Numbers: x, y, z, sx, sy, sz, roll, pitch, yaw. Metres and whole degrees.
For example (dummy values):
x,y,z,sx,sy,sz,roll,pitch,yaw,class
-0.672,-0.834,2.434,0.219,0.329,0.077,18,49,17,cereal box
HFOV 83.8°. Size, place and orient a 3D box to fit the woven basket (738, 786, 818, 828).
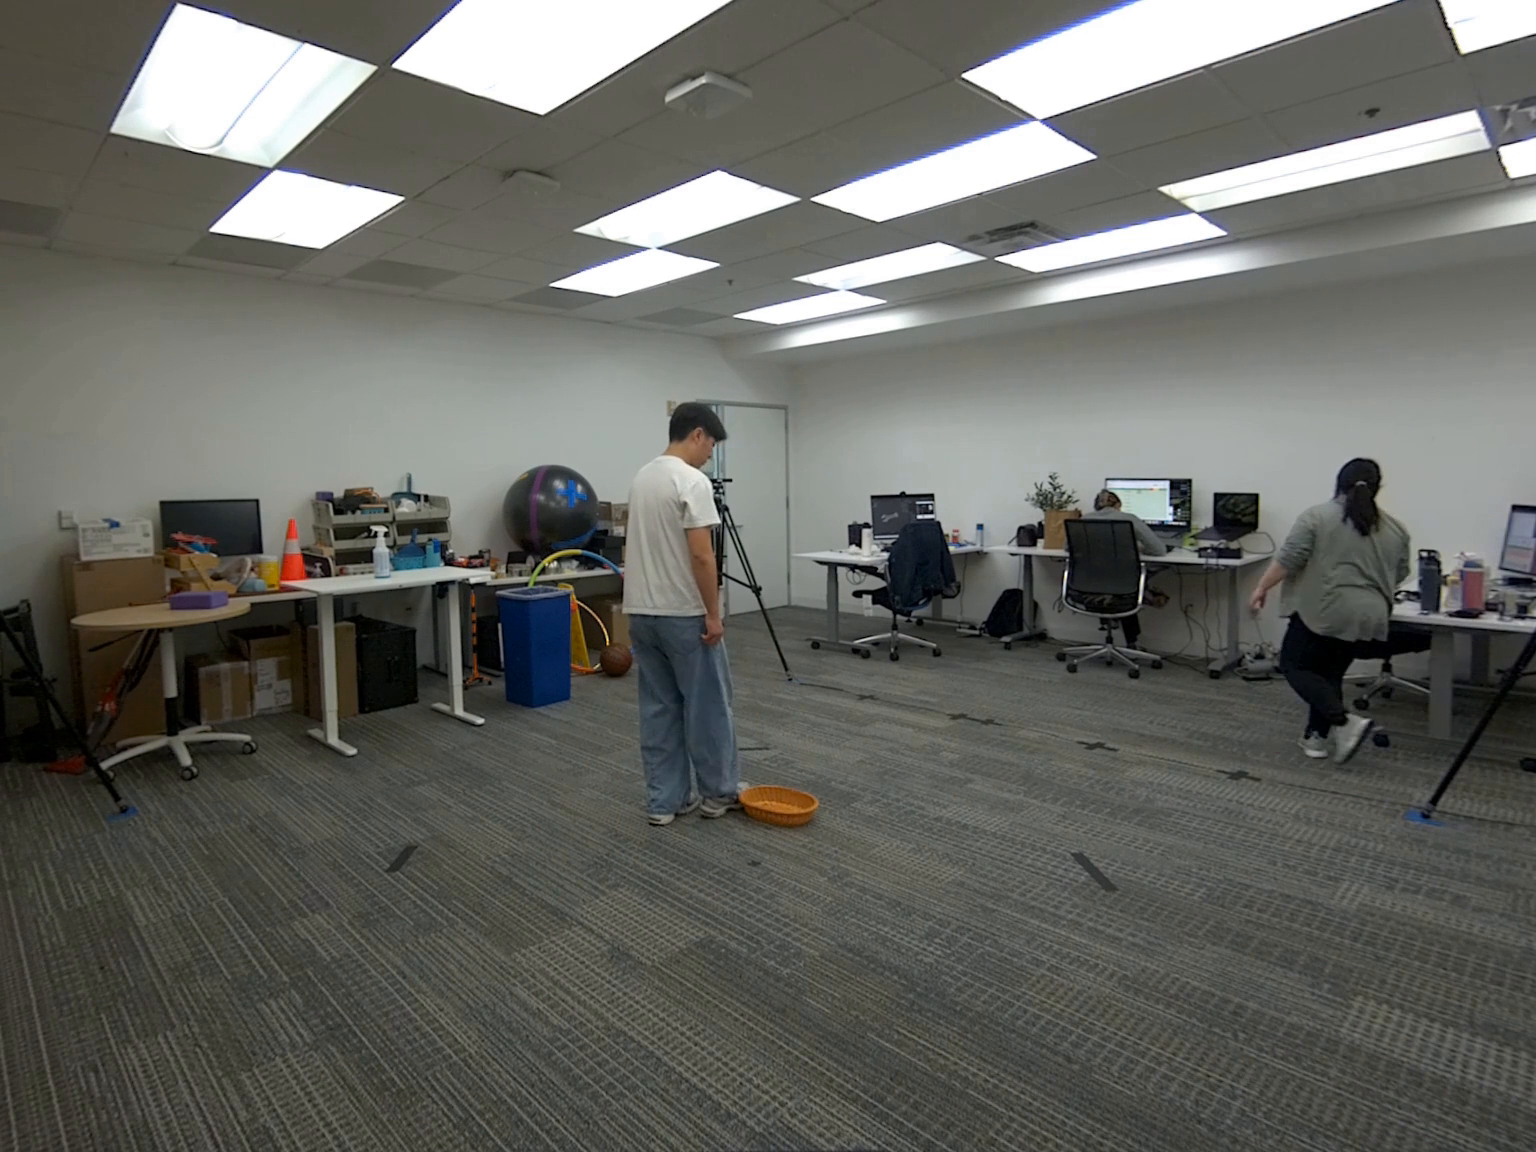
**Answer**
x,y,z,sx,sy,sz,roll,pitch,yaw,class
0.058,0.953,3.530,0.361,0.073,0.246,4,8,35,woven basket
